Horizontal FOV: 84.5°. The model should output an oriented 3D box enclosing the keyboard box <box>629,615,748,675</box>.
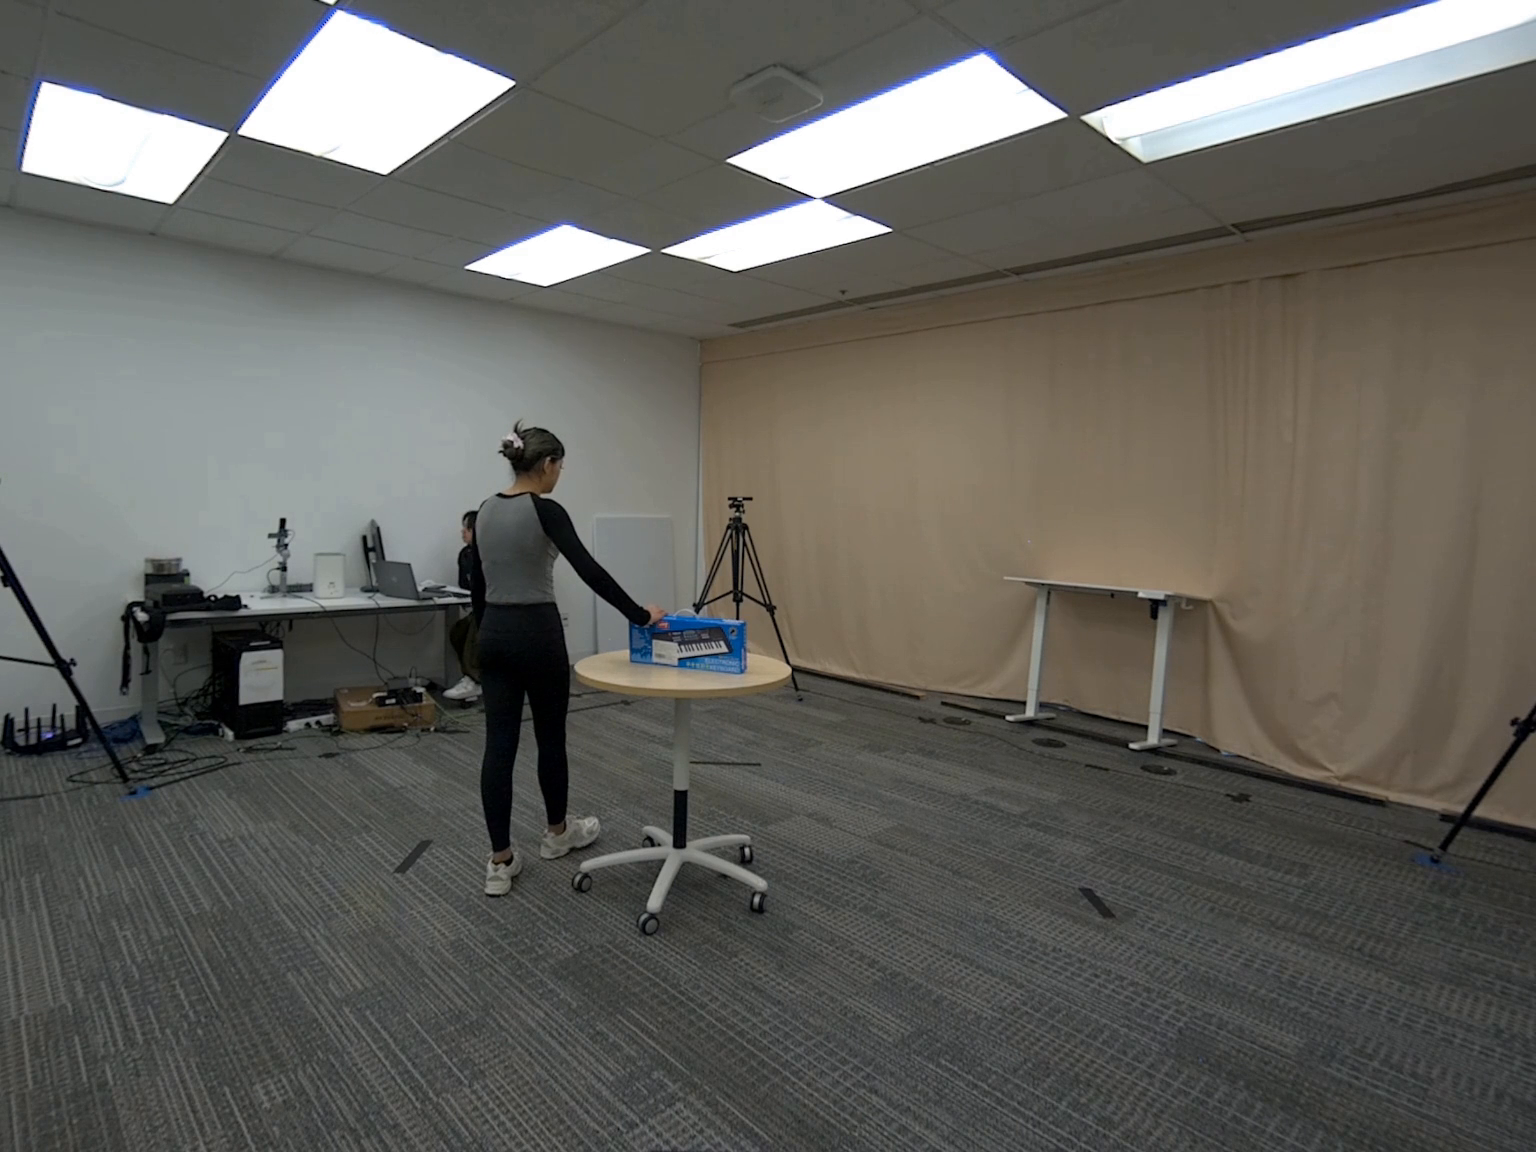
[{"bbox_3d":[-0.293,0.235,2.964,0.445,0.175,0.058,3,10,23],"label":"keyboard box"}]
